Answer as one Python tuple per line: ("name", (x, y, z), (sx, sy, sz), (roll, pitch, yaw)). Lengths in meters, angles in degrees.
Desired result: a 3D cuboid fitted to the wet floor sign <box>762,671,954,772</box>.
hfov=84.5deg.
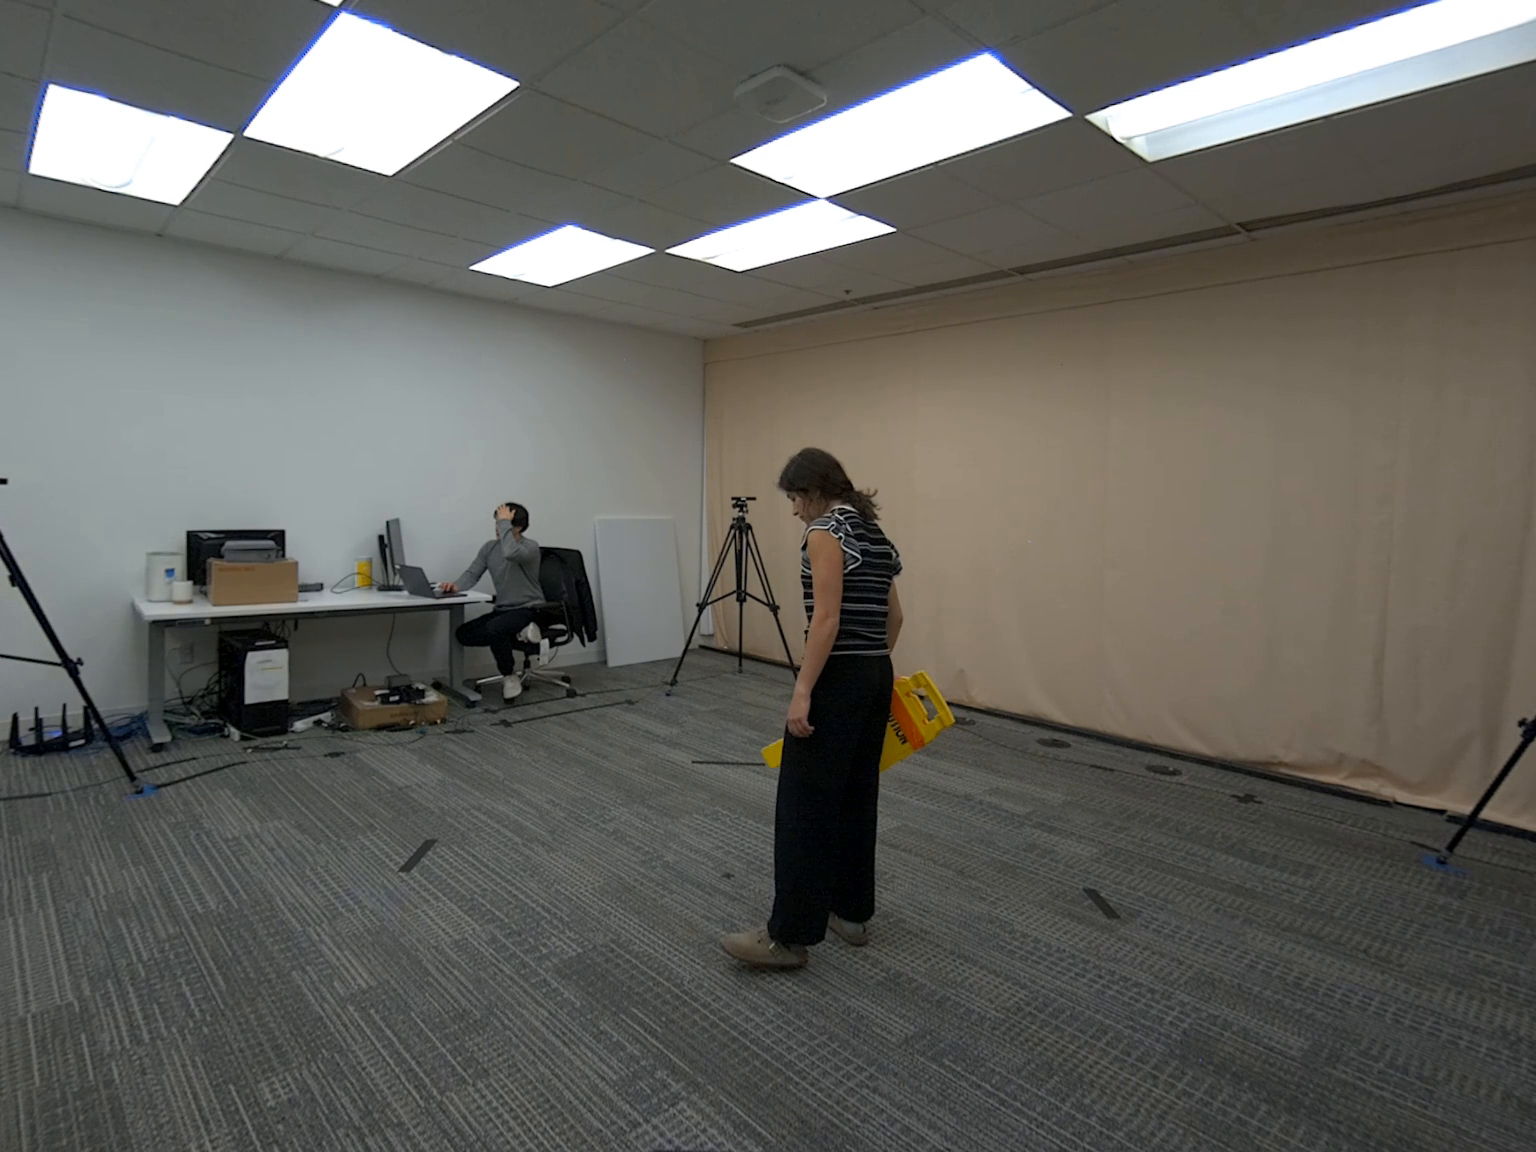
("wet floor sign", (0.325, 0.553, 2.912), (0.649, 0.285, 0.285), (-36, -11, 29))
